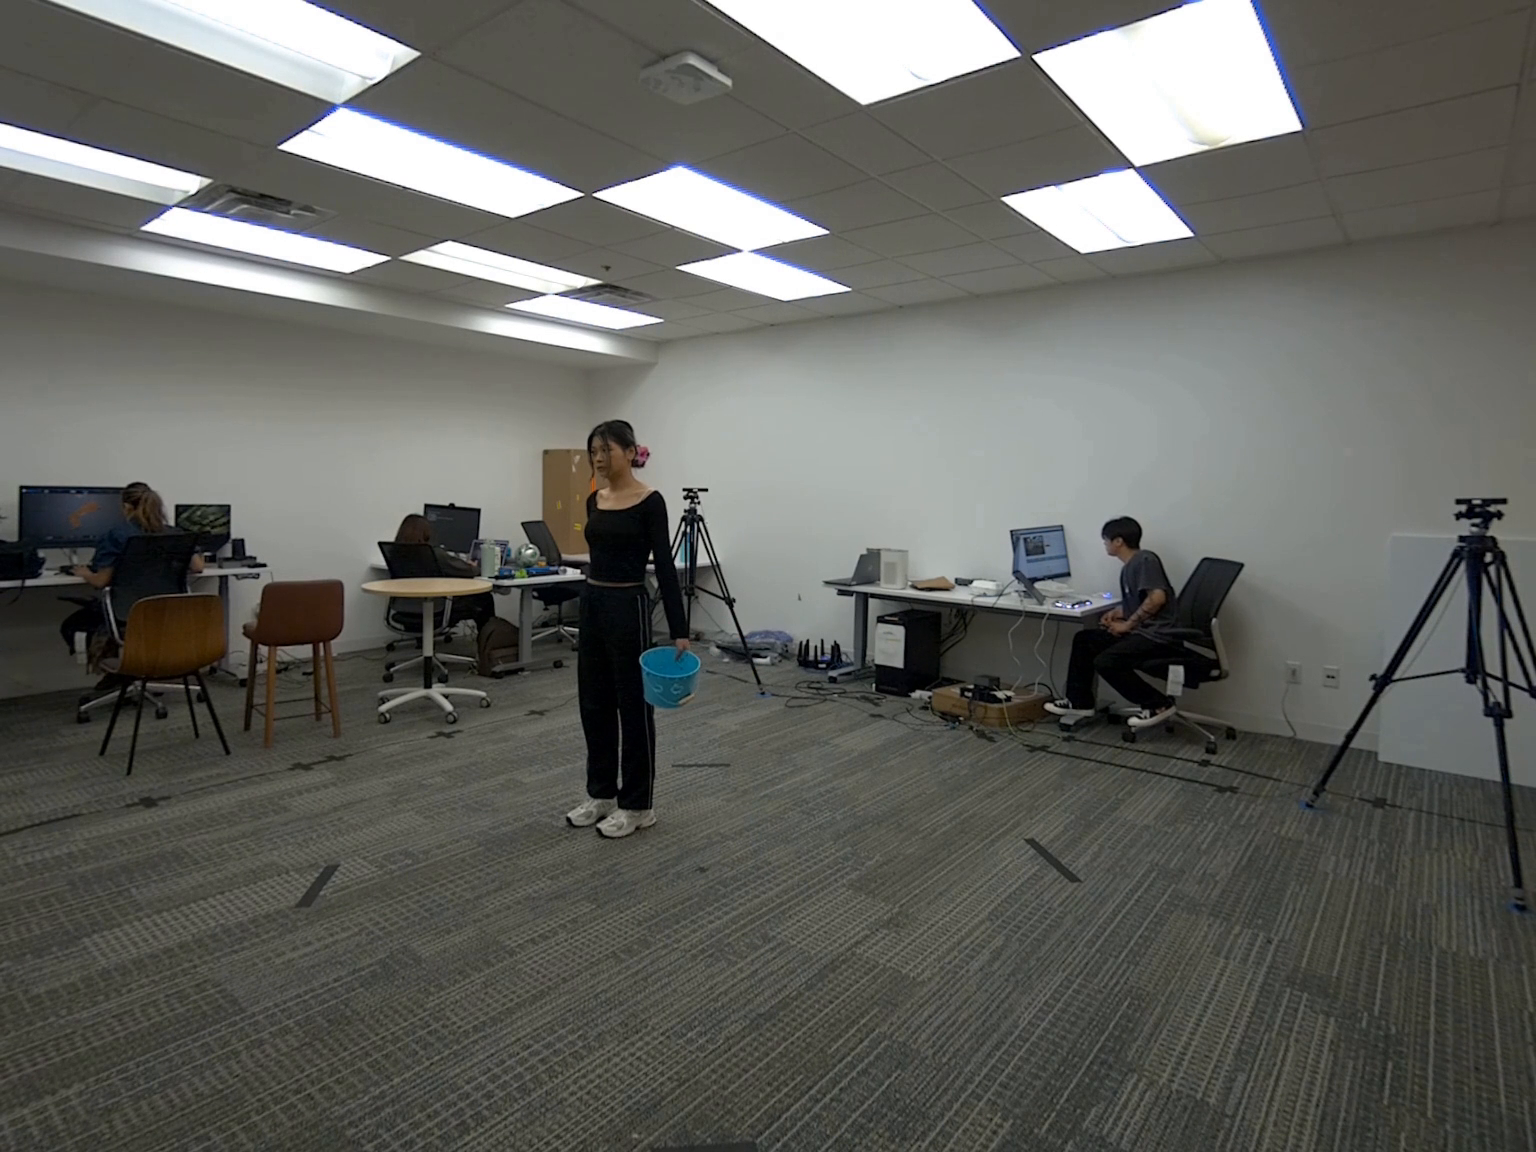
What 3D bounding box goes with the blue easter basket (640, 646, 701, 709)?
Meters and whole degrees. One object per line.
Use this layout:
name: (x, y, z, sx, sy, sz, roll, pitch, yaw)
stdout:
blue easter basket: (-0.395, 0.392, 3.257, 0.243, 0.153, 0.248, 5, 20, -4)
